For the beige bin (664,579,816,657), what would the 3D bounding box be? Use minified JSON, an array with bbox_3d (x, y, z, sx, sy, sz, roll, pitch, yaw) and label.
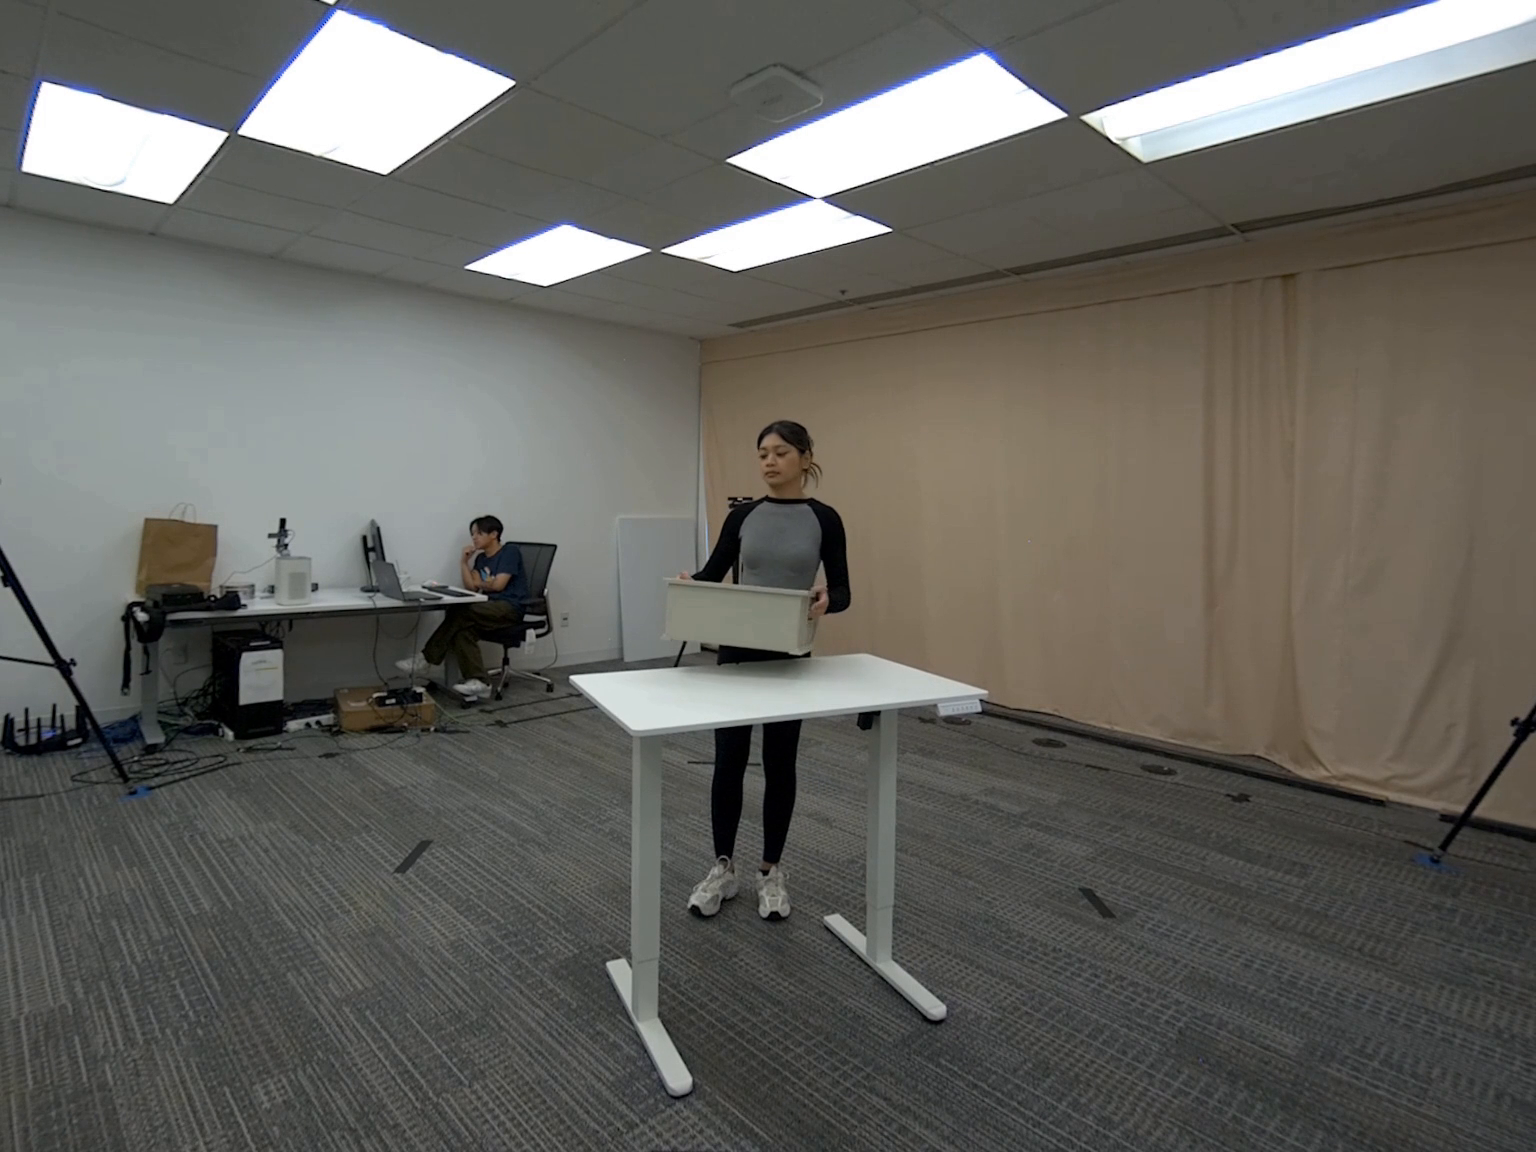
[{"bbox_3d":[-0.074,0.134,2.560,0.428,0.189,0.372,9,2,15],"label":"beige bin"}]
